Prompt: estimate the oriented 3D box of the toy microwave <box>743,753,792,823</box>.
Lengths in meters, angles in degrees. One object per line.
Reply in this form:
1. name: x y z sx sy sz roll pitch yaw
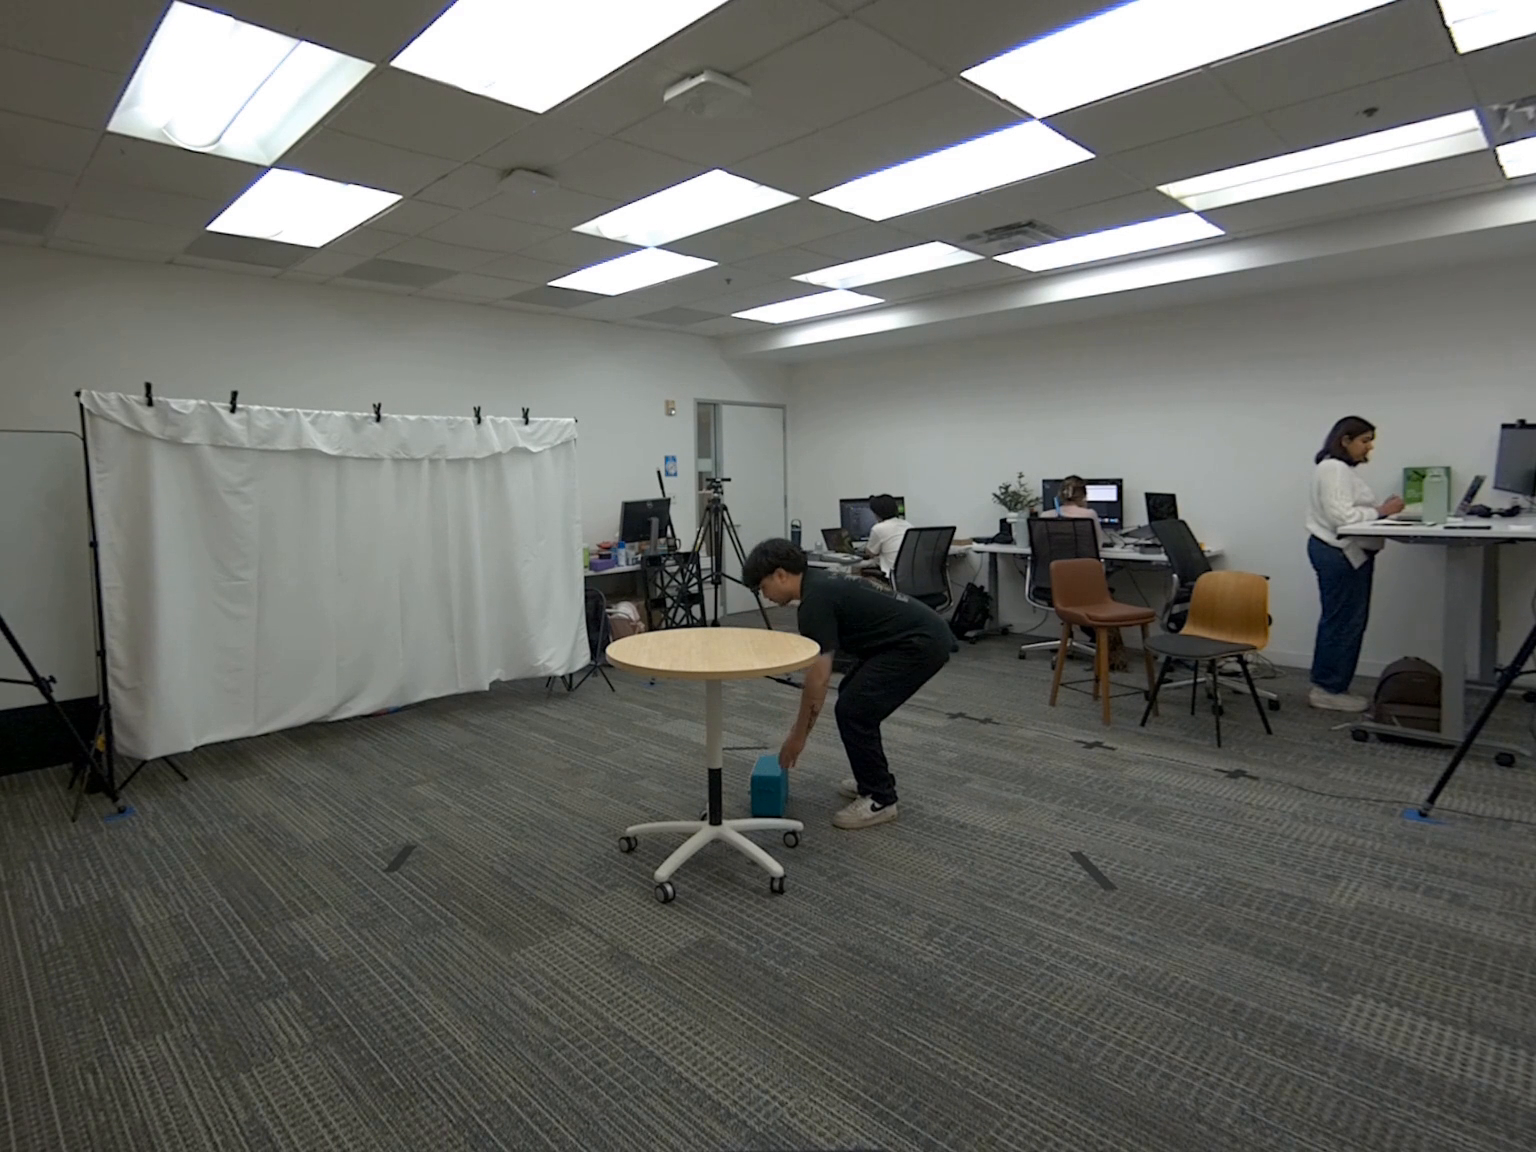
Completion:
1. toy microwave: -0.002 0.889 3.624 0.154 0.183 0.284 0 6 11
